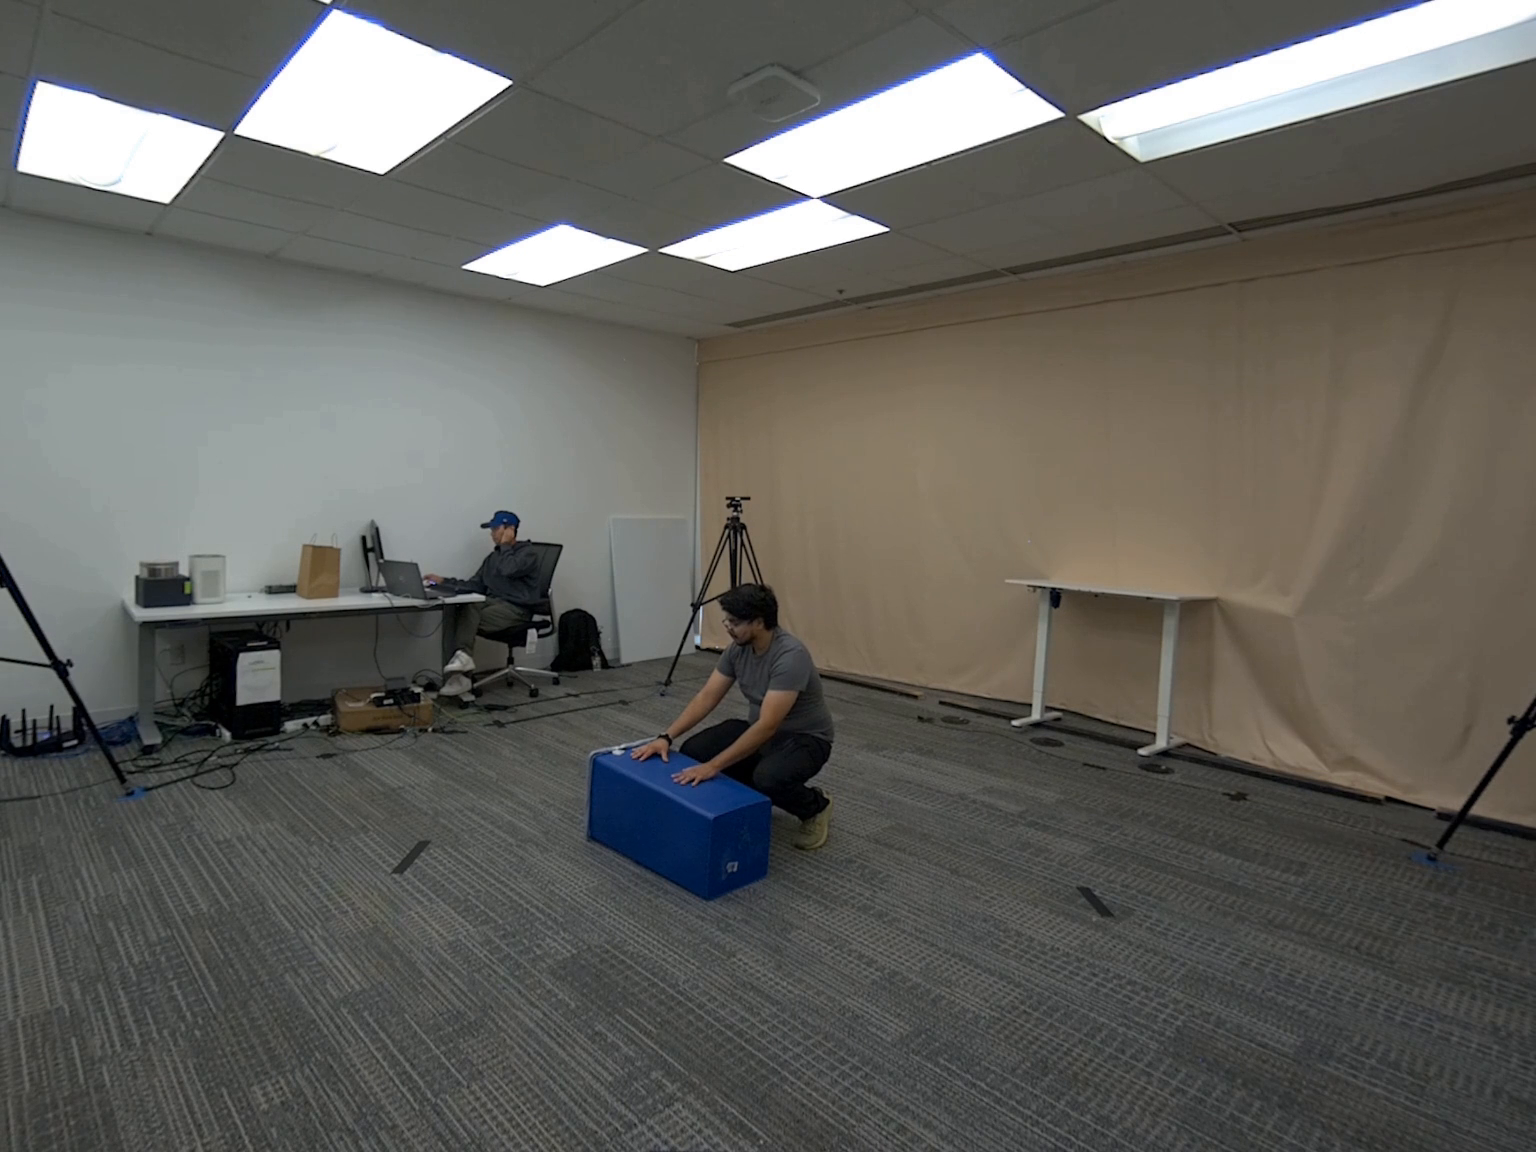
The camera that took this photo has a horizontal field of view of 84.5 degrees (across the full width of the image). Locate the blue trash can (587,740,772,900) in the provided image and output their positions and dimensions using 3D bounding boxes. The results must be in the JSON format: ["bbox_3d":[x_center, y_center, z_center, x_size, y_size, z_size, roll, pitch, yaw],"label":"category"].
[{"bbox_3d":[-0.359,0.919,3.235,0.365,0.377,0.733,-2,8,-43],"label":"blue trash can"}]
